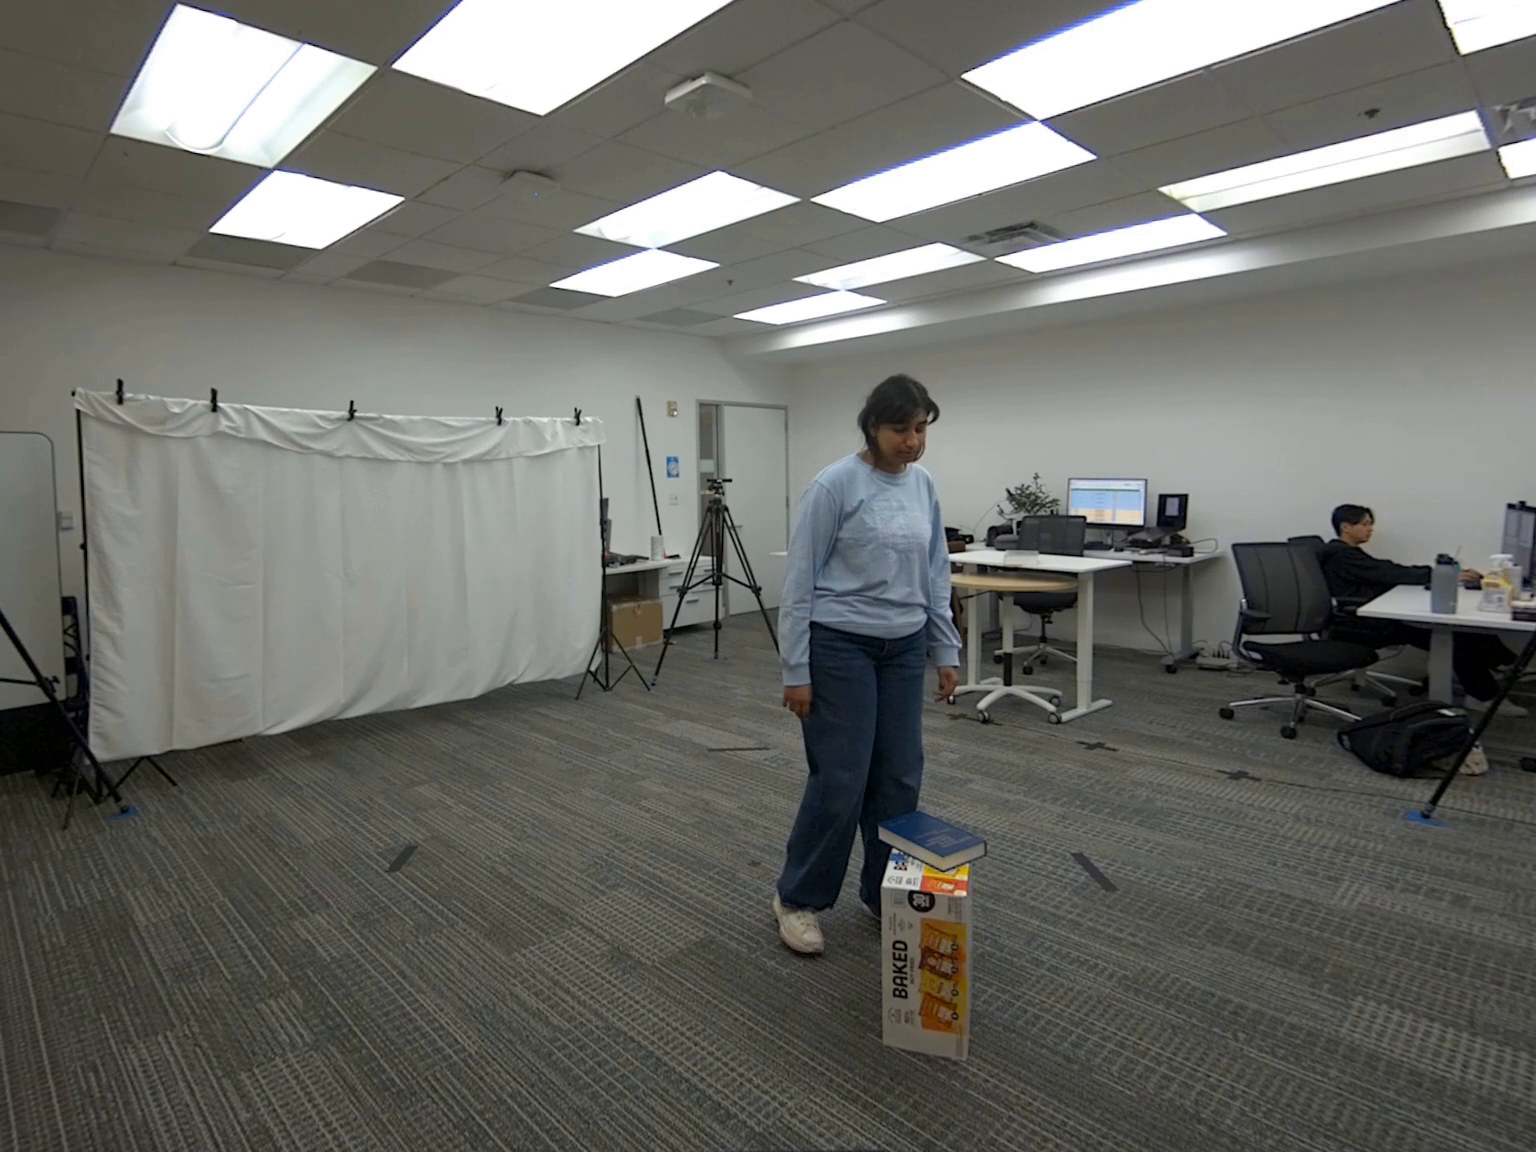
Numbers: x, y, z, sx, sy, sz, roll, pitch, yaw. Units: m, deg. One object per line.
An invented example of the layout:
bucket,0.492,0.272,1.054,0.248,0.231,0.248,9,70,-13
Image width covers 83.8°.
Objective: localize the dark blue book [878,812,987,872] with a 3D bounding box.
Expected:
dark blue book,0.440,0.709,2.284,0.159,0.045,0.252,-7,9,-33
